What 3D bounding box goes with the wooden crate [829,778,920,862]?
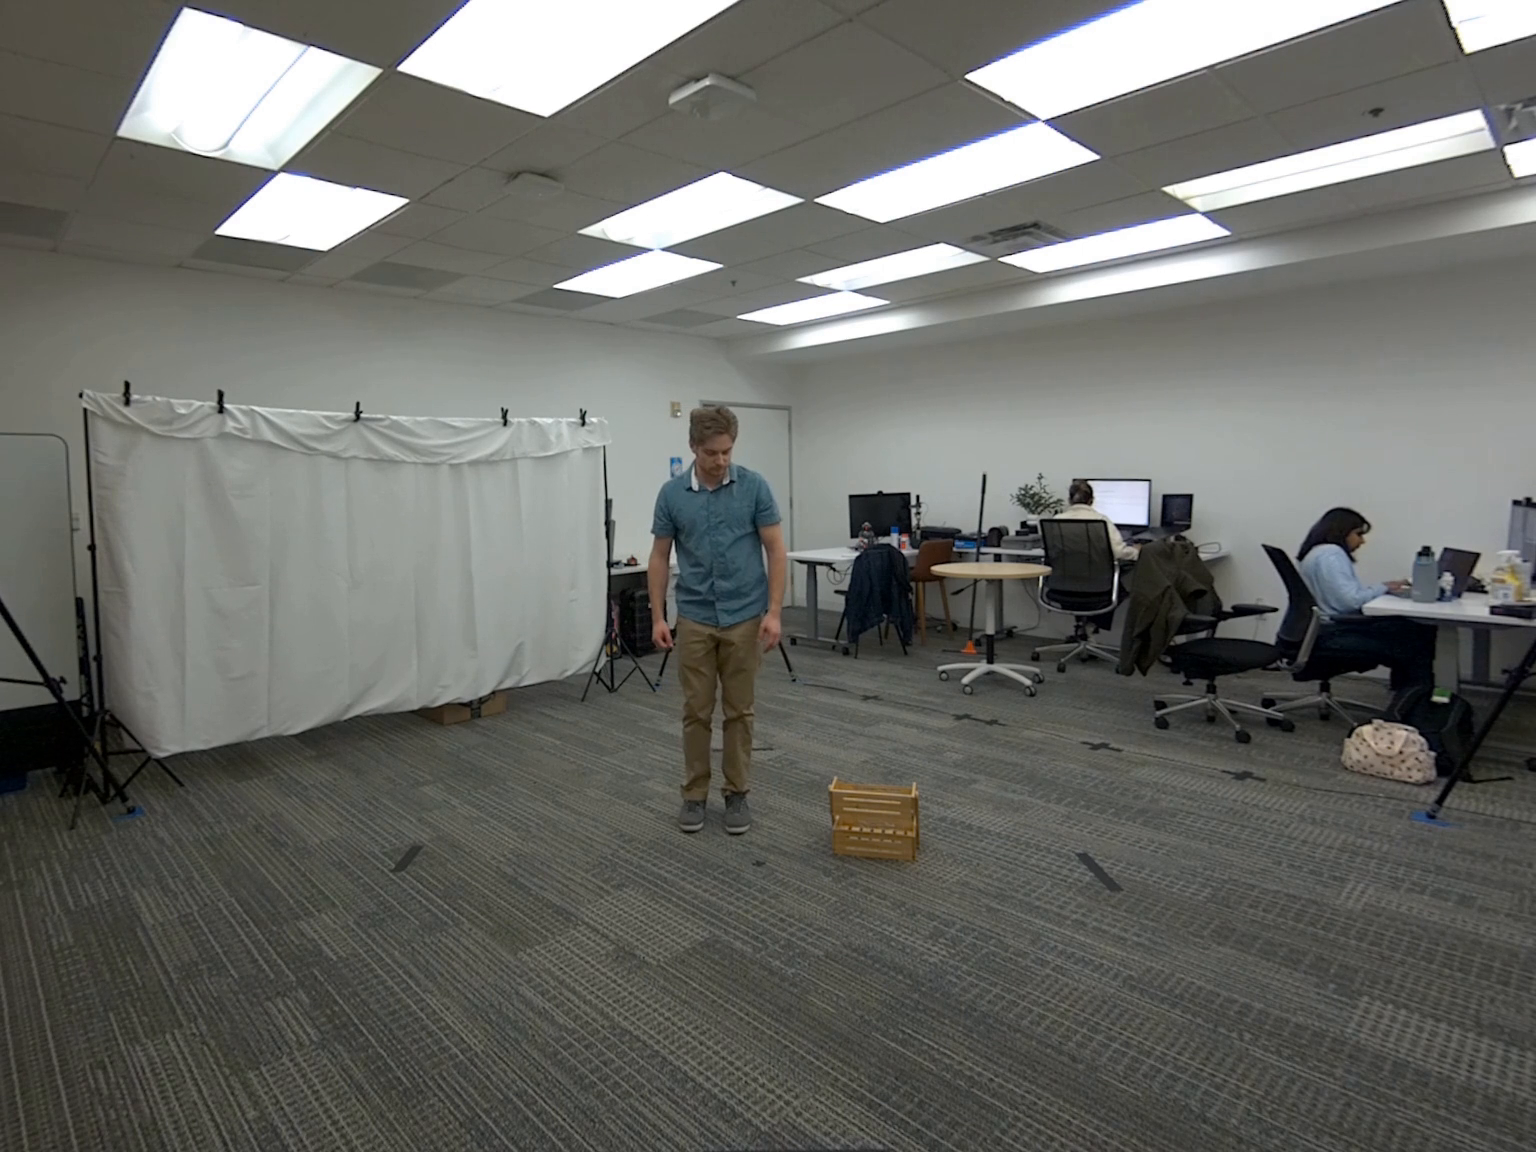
[{"bbox_3d":[0.411,0.893,3.235,0.329,0.272,0.299,0,5,14],"label":"wooden crate"}]
